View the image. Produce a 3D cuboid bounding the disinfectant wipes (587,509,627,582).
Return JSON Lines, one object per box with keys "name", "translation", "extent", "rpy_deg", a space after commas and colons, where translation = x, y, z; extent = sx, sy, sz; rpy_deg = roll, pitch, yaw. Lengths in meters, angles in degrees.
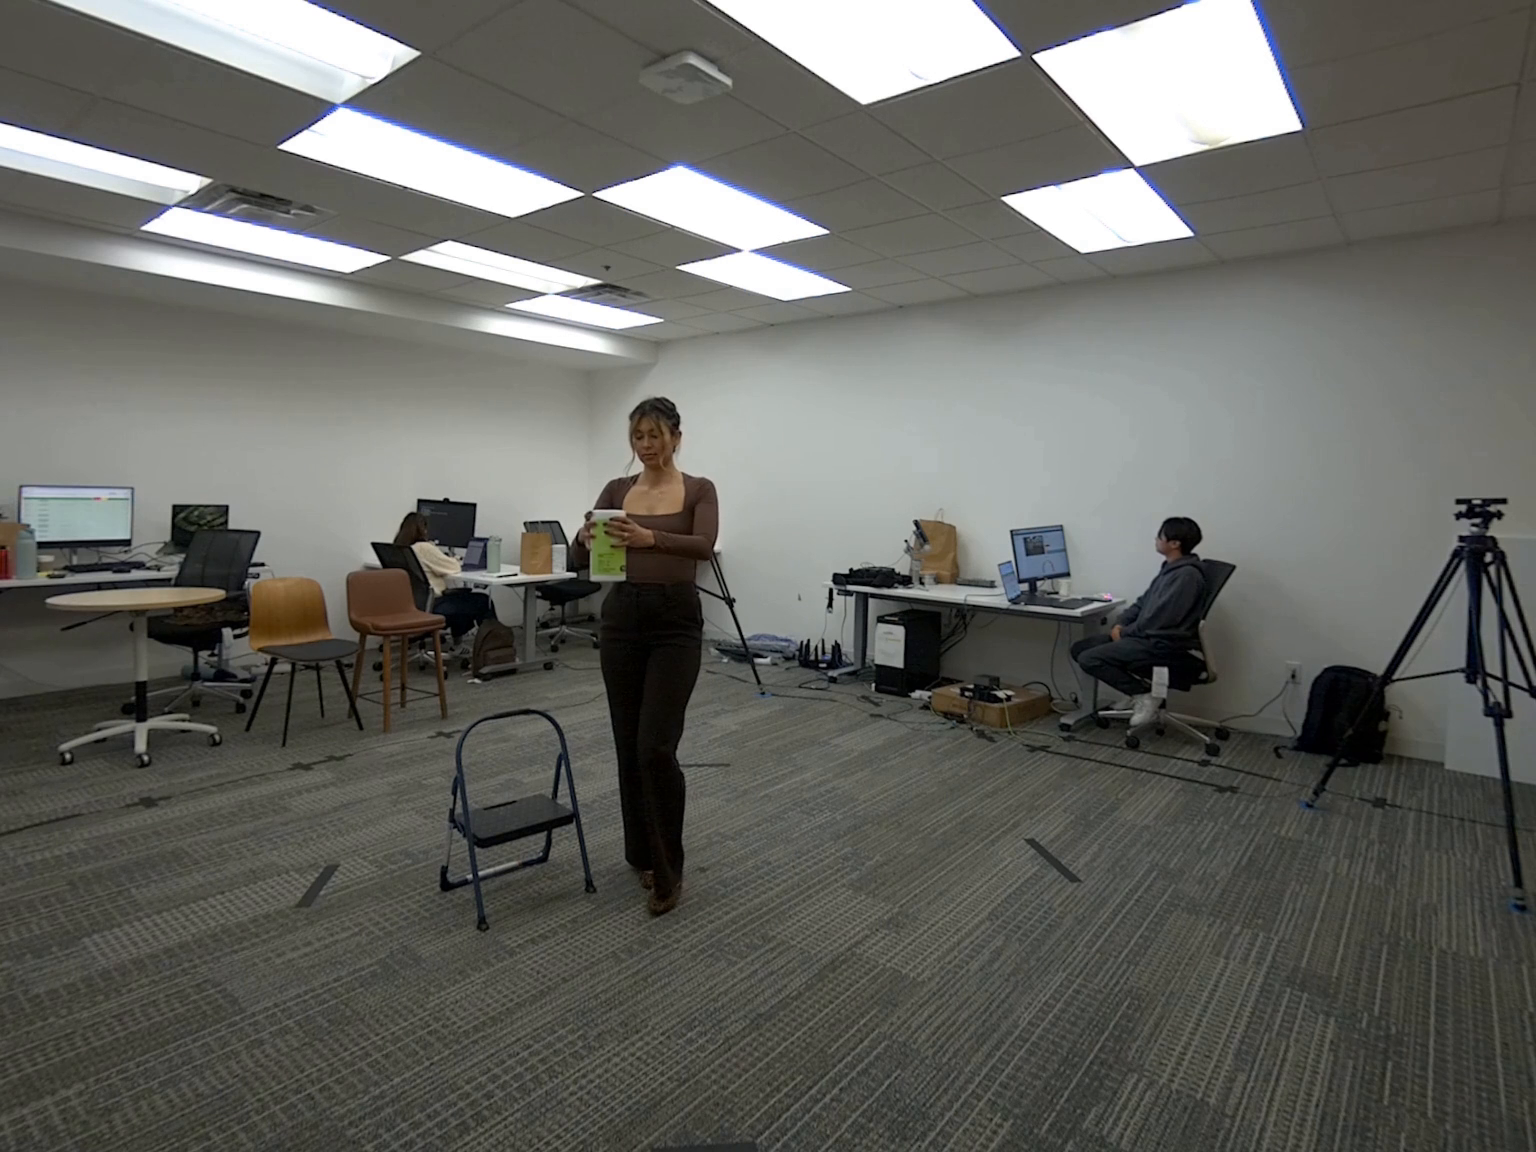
{"name": "disinfectant wipes", "translation": [-0.488, -0.094, 2.585], "extent": [0.118, 0.218, 0.118], "rpy_deg": [0, -1, -2]}
